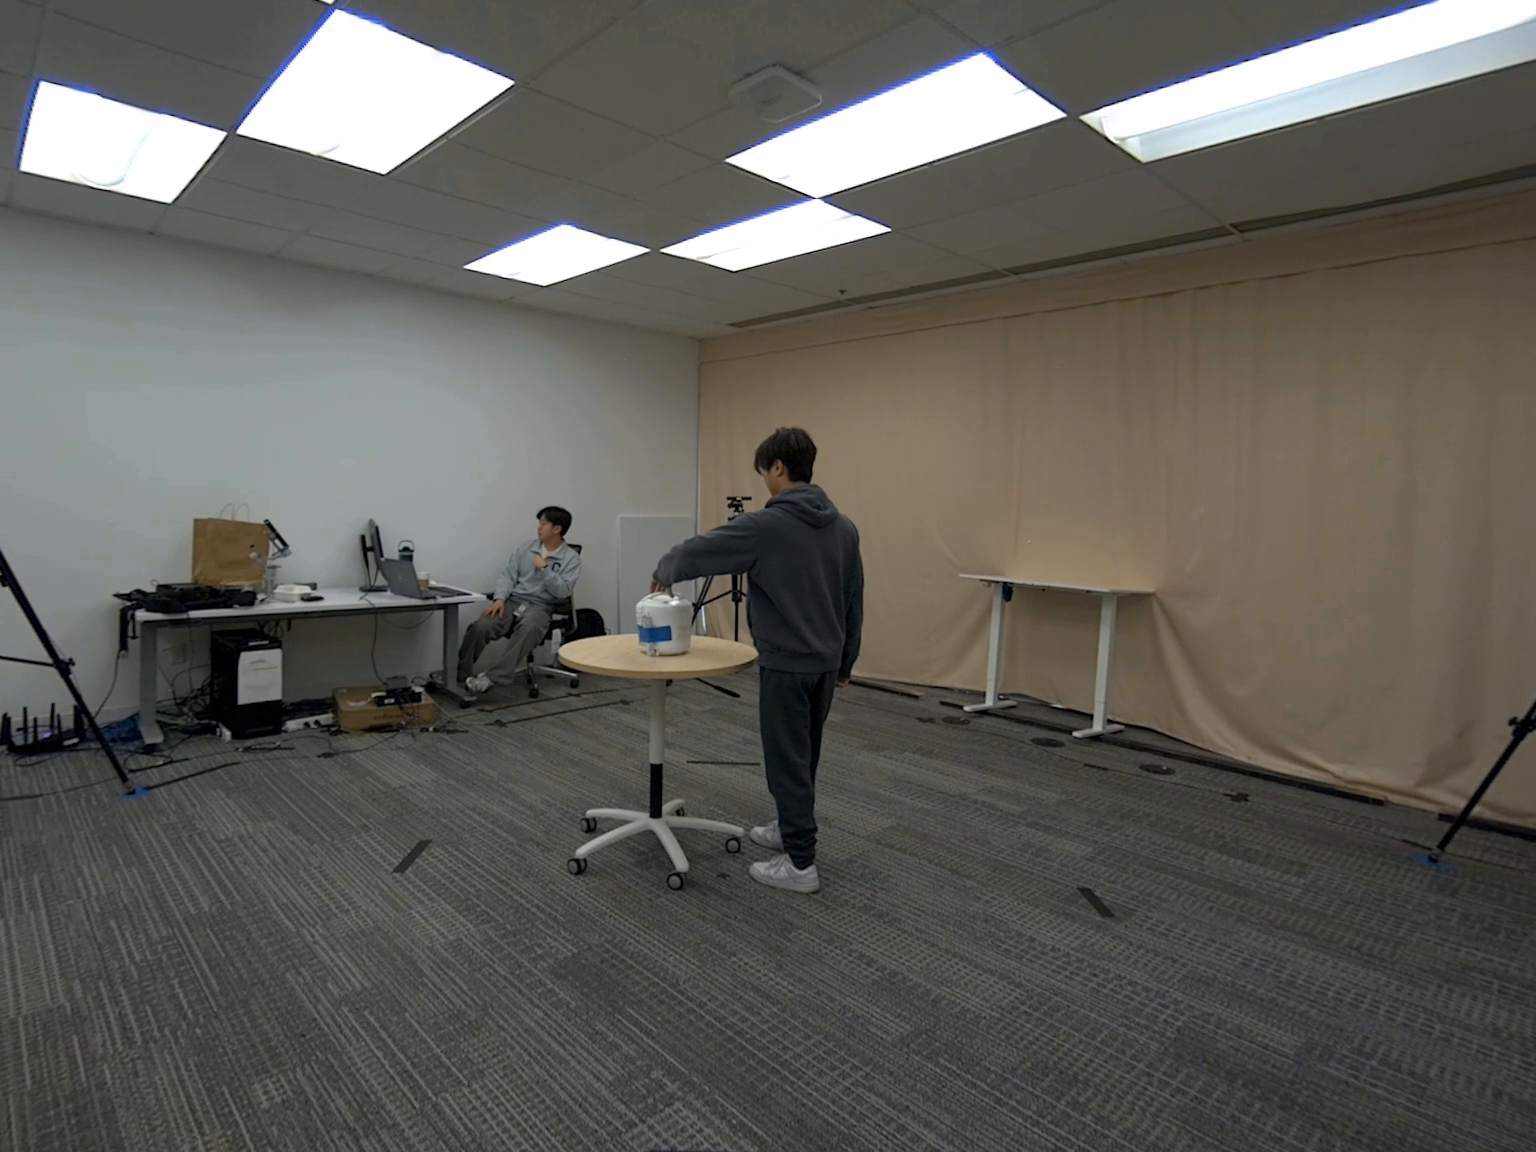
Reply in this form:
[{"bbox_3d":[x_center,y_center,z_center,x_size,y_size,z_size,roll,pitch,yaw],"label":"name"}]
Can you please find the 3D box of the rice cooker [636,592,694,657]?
[{"bbox_3d":[-0.400,0.174,3.236,0.217,0.232,0.222,1,5,-22],"label":"rice cooker"}]
